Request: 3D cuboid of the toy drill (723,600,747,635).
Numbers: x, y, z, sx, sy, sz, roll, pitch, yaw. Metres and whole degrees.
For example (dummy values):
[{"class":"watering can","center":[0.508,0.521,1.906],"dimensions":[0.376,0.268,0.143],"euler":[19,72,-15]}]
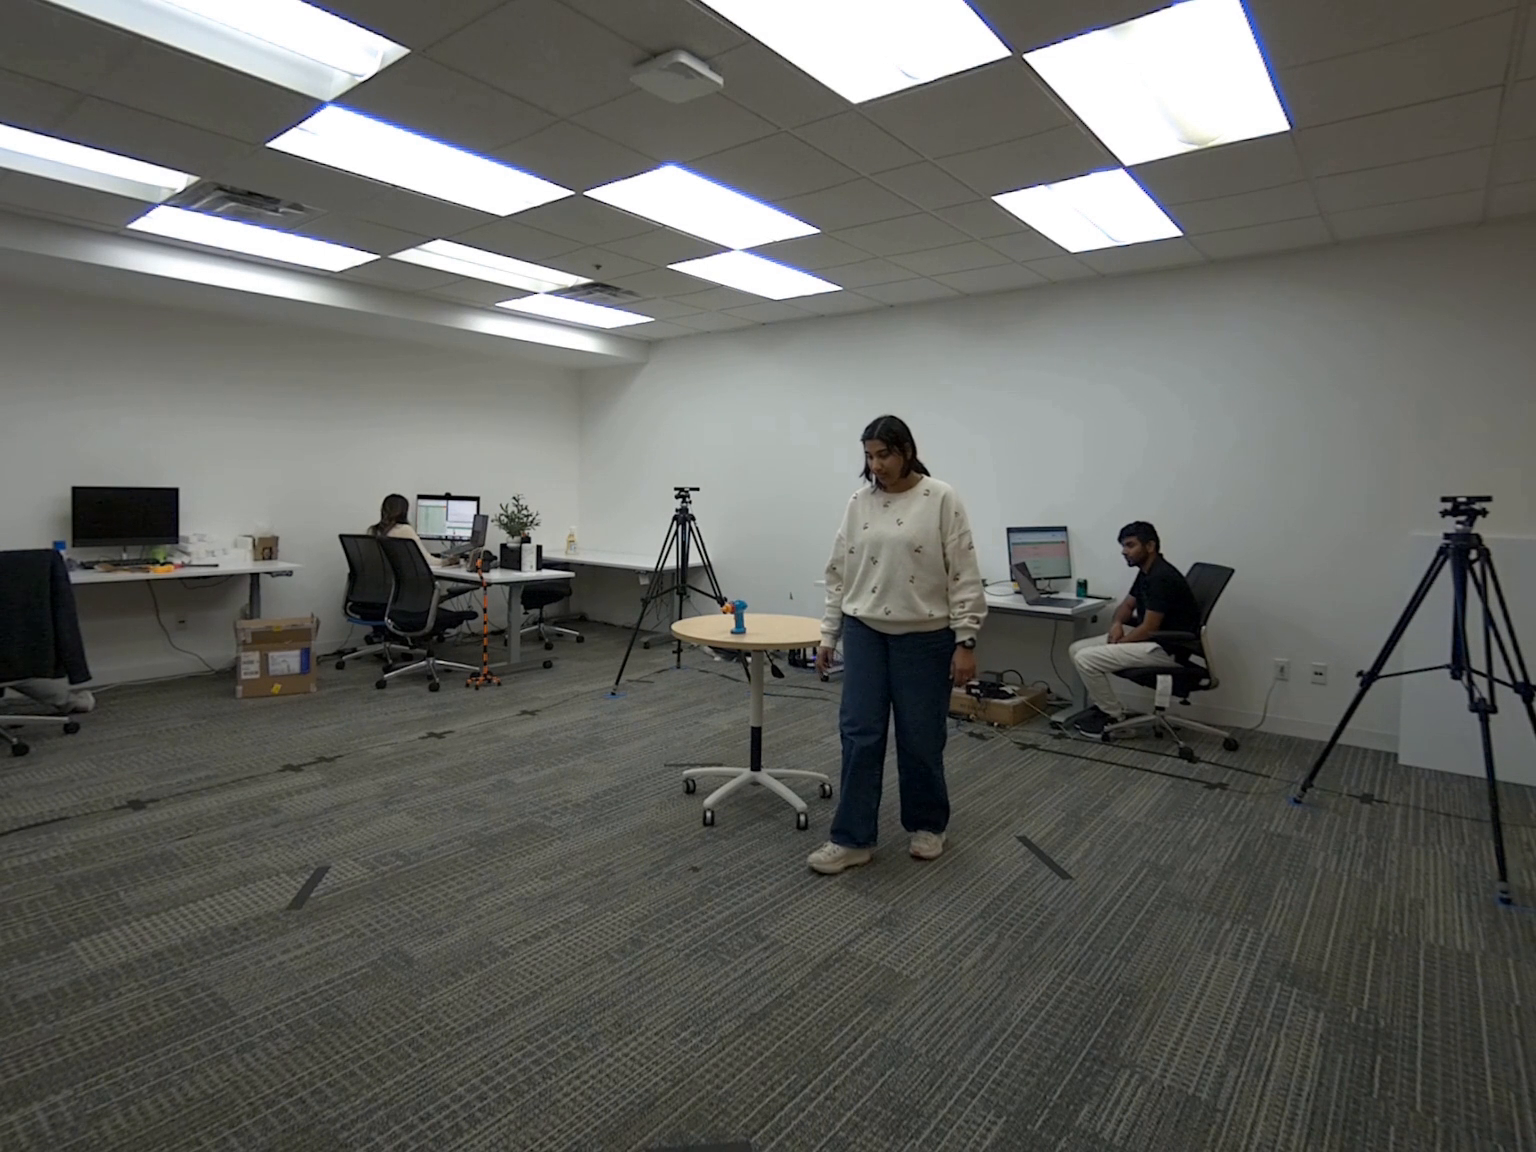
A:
[{"class":"toy drill","center":[-0.157,0.170,3.566],"dimensions":[0.063,0.145,0.165],"euler":[2,4,37]}]
